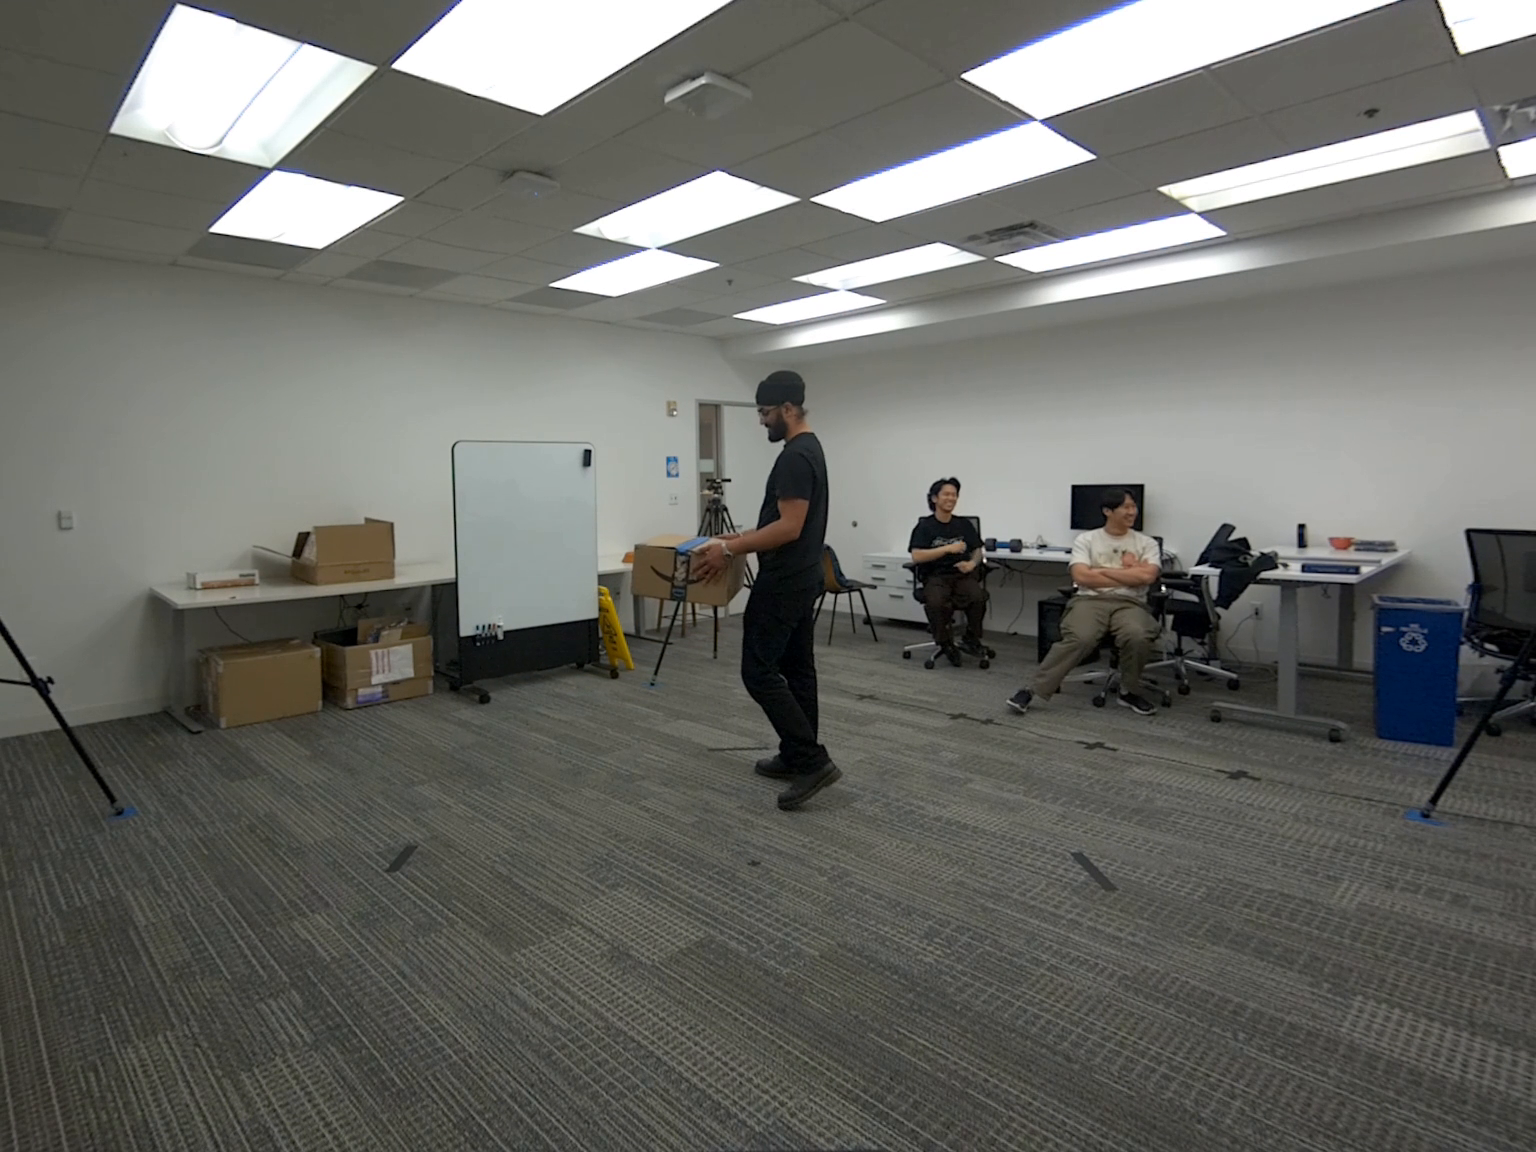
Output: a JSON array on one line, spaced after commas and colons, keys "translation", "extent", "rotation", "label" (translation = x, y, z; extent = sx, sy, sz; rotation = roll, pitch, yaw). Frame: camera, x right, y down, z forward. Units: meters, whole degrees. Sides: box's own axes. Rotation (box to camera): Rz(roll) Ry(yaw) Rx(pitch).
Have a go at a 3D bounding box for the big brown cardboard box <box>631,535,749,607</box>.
[{"translation": [-0.334, -0.044, 3.839], "extent": [0.421, 0.232, 0.587], "rotation": [5, 7, 7], "label": "big brown cardboard box"}]
